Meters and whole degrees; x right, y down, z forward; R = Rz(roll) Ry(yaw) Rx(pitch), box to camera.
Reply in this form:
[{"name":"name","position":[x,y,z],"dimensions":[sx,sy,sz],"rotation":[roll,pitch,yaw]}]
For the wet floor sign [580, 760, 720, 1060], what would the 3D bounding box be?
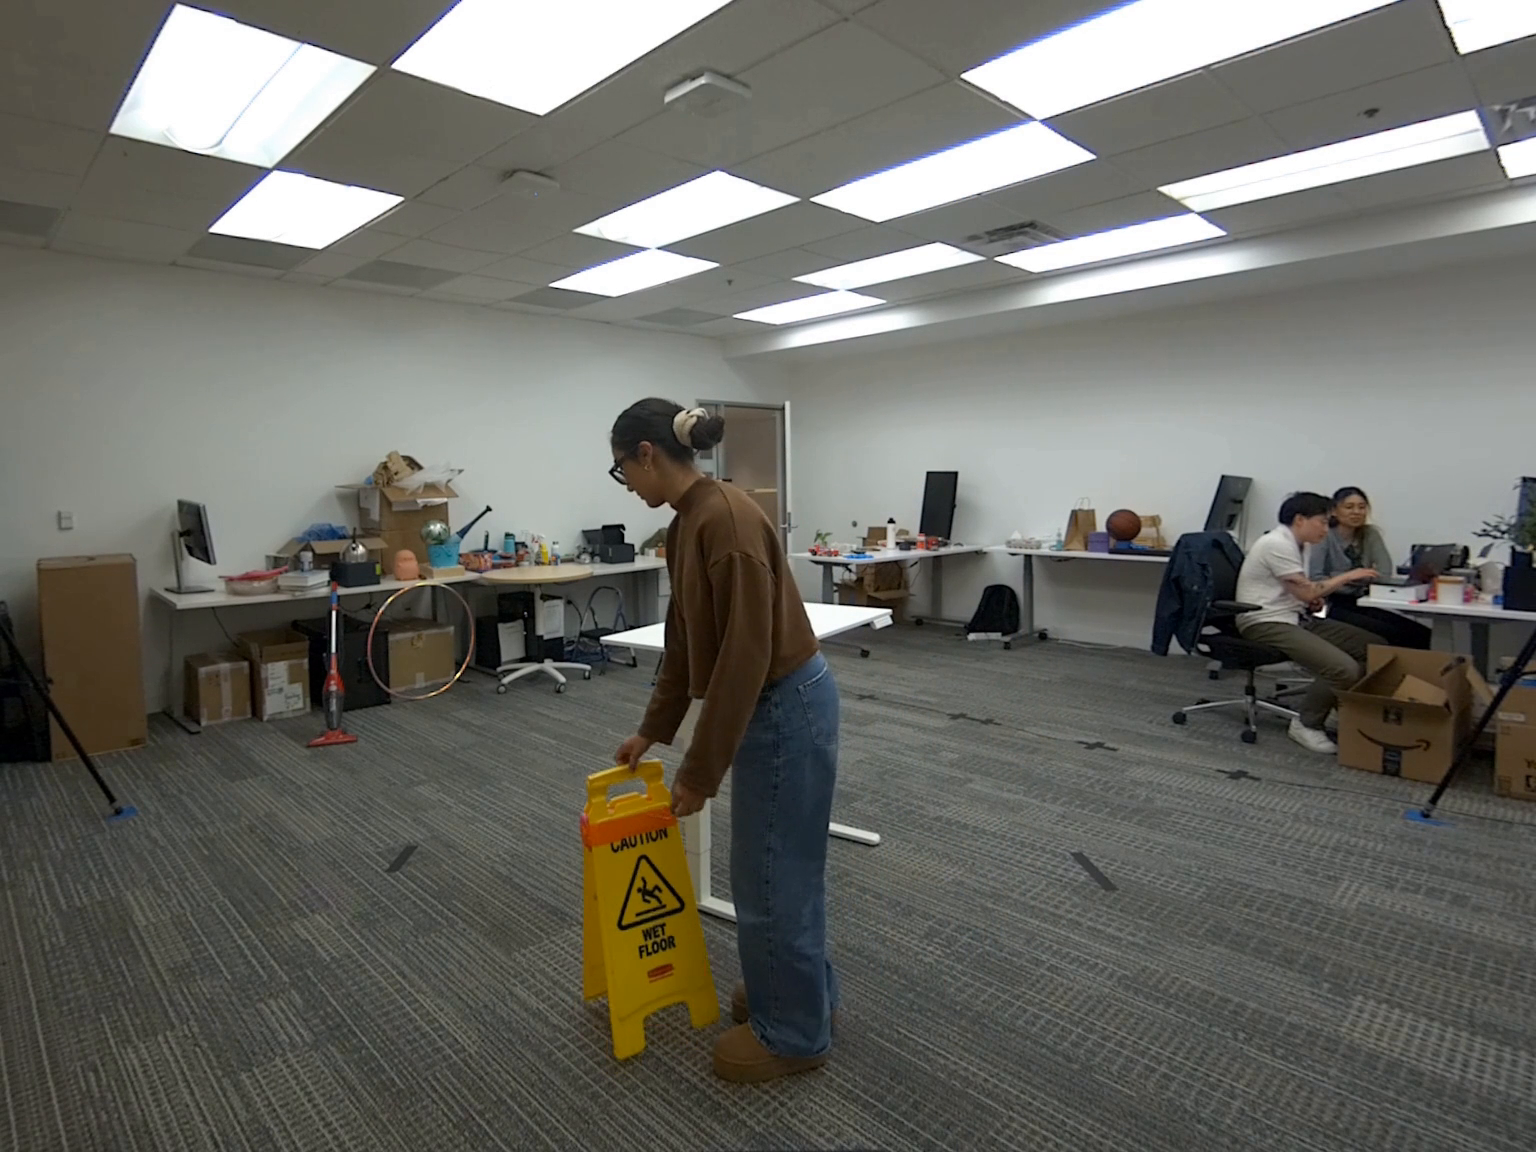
[{"name":"wet floor sign","position":[-0.335,0.798,2.175],"dimensions":[0.277,0.643,0.296],"rotation":[-8,5,-24]}]
